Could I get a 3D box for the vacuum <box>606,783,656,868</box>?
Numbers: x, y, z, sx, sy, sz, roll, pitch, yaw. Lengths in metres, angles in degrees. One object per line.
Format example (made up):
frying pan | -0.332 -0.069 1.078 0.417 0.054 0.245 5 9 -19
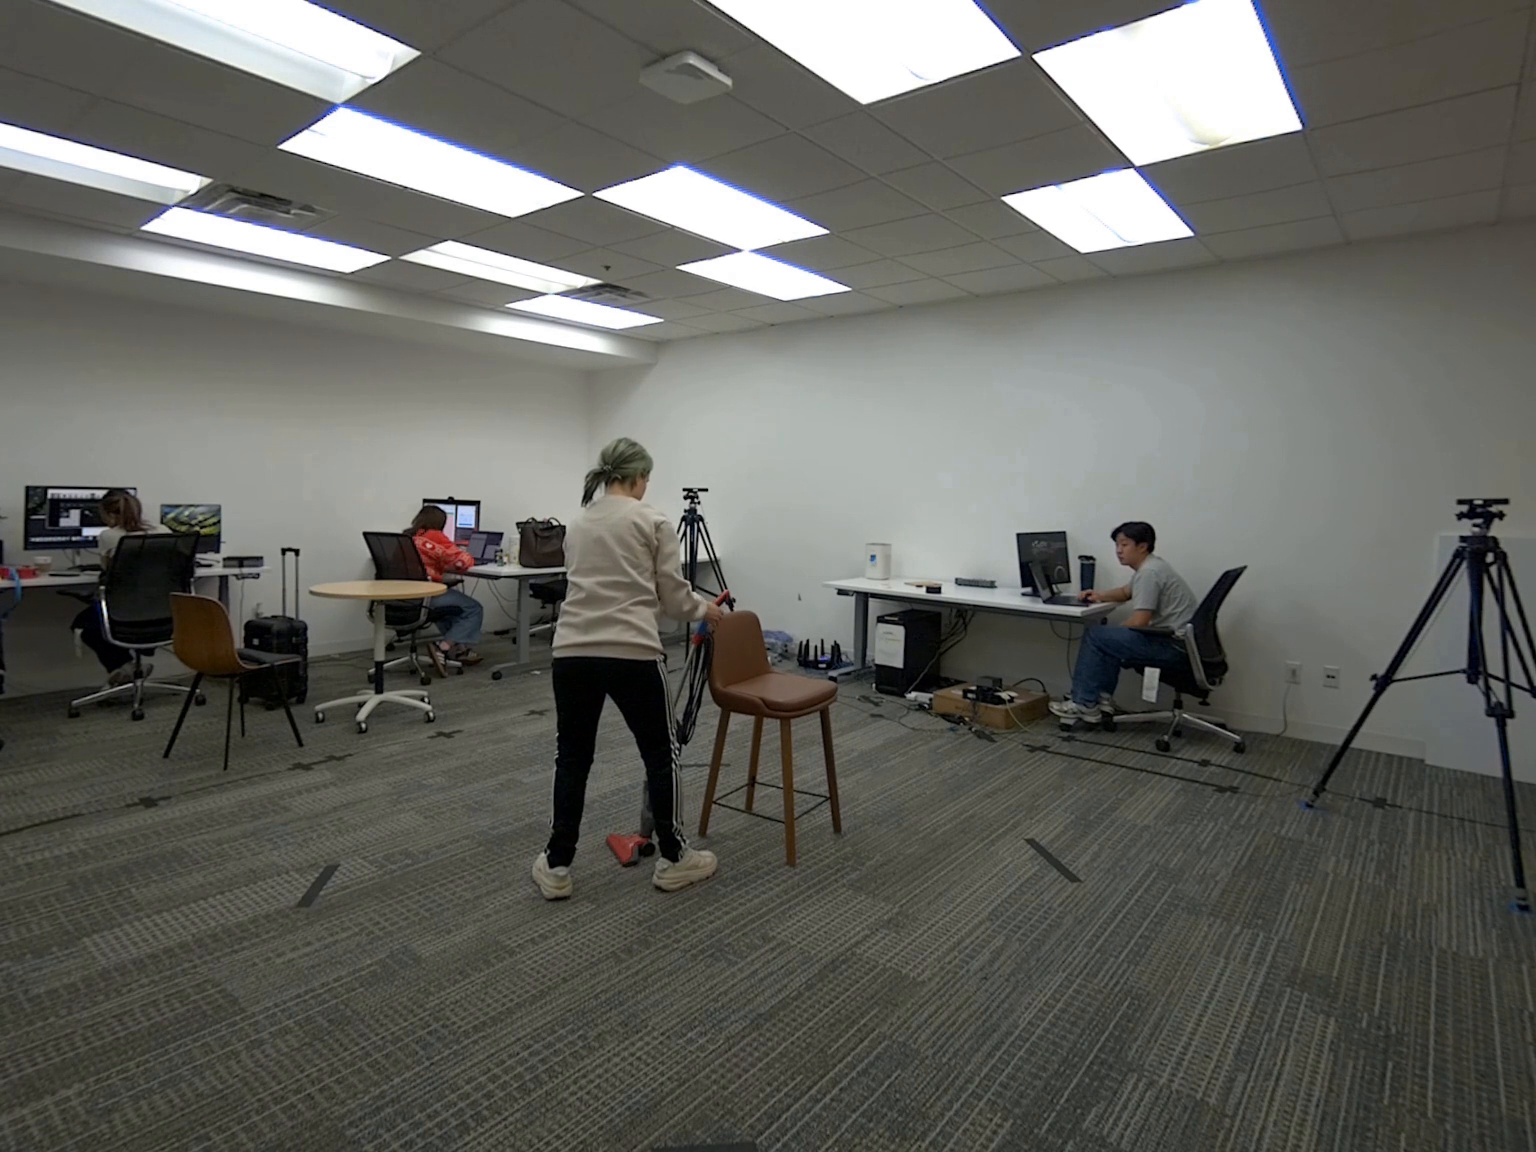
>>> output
vacuum | -0.359 0.558 3.291 0.139 1.052 0.260 22 -6 -28
